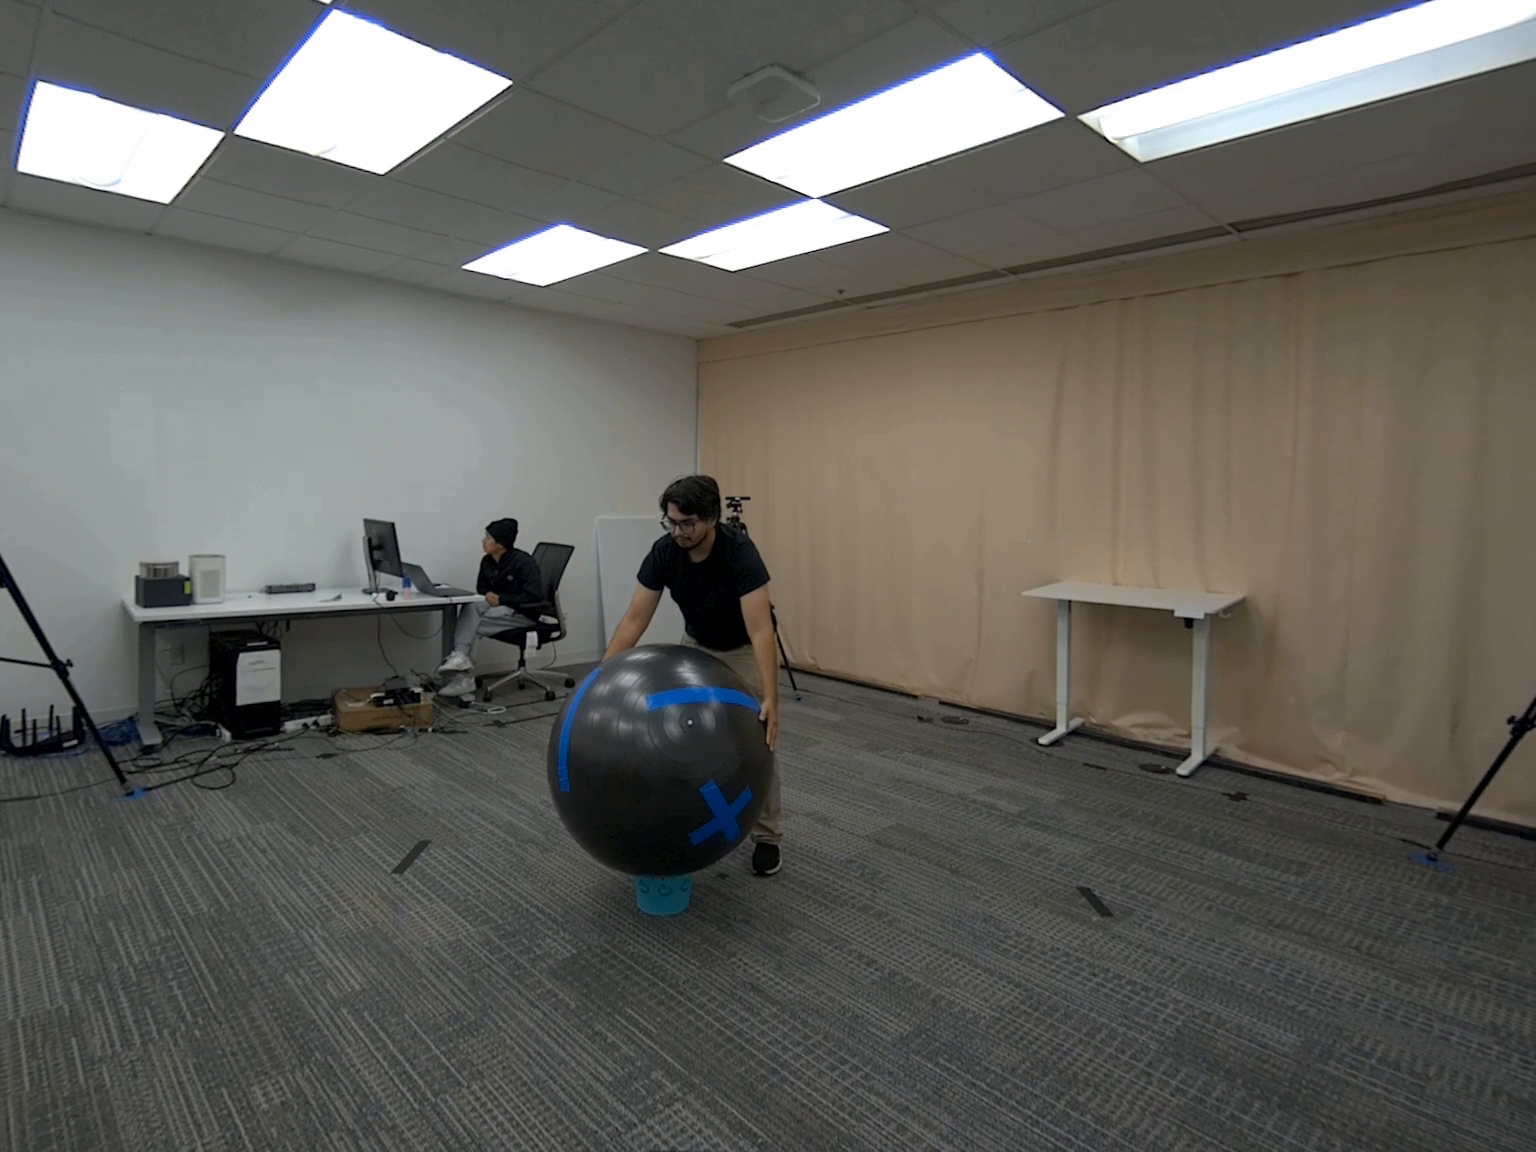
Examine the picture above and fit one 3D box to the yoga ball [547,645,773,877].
[{"bbox_3d":[-0.362,0.617,2.830,0.757,0.756,0.761,1,4,-1],"label":"yoga ball"}]
